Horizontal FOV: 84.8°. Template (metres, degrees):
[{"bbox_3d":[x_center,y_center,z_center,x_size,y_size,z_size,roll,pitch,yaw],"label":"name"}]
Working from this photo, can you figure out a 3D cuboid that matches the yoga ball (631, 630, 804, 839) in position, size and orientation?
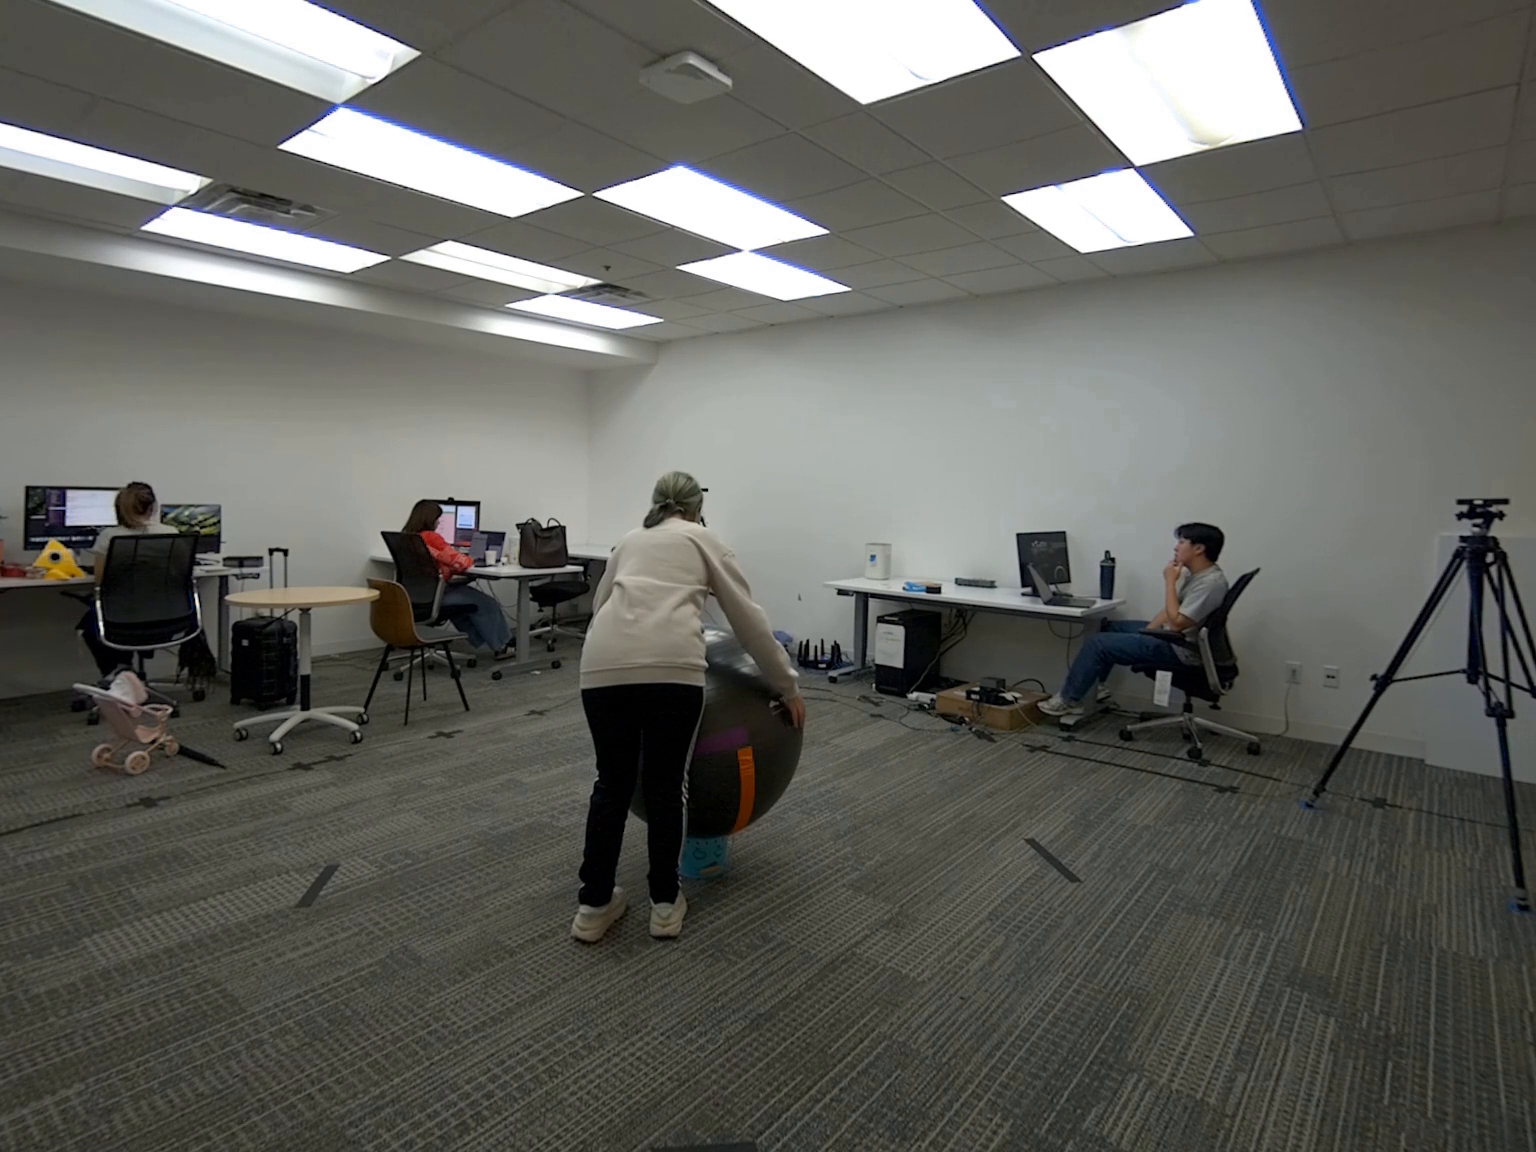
[{"bbox_3d":[-0.259,0.559,3.109,0.757,0.755,0.762,1,4,-2],"label":"yoga ball"}]
